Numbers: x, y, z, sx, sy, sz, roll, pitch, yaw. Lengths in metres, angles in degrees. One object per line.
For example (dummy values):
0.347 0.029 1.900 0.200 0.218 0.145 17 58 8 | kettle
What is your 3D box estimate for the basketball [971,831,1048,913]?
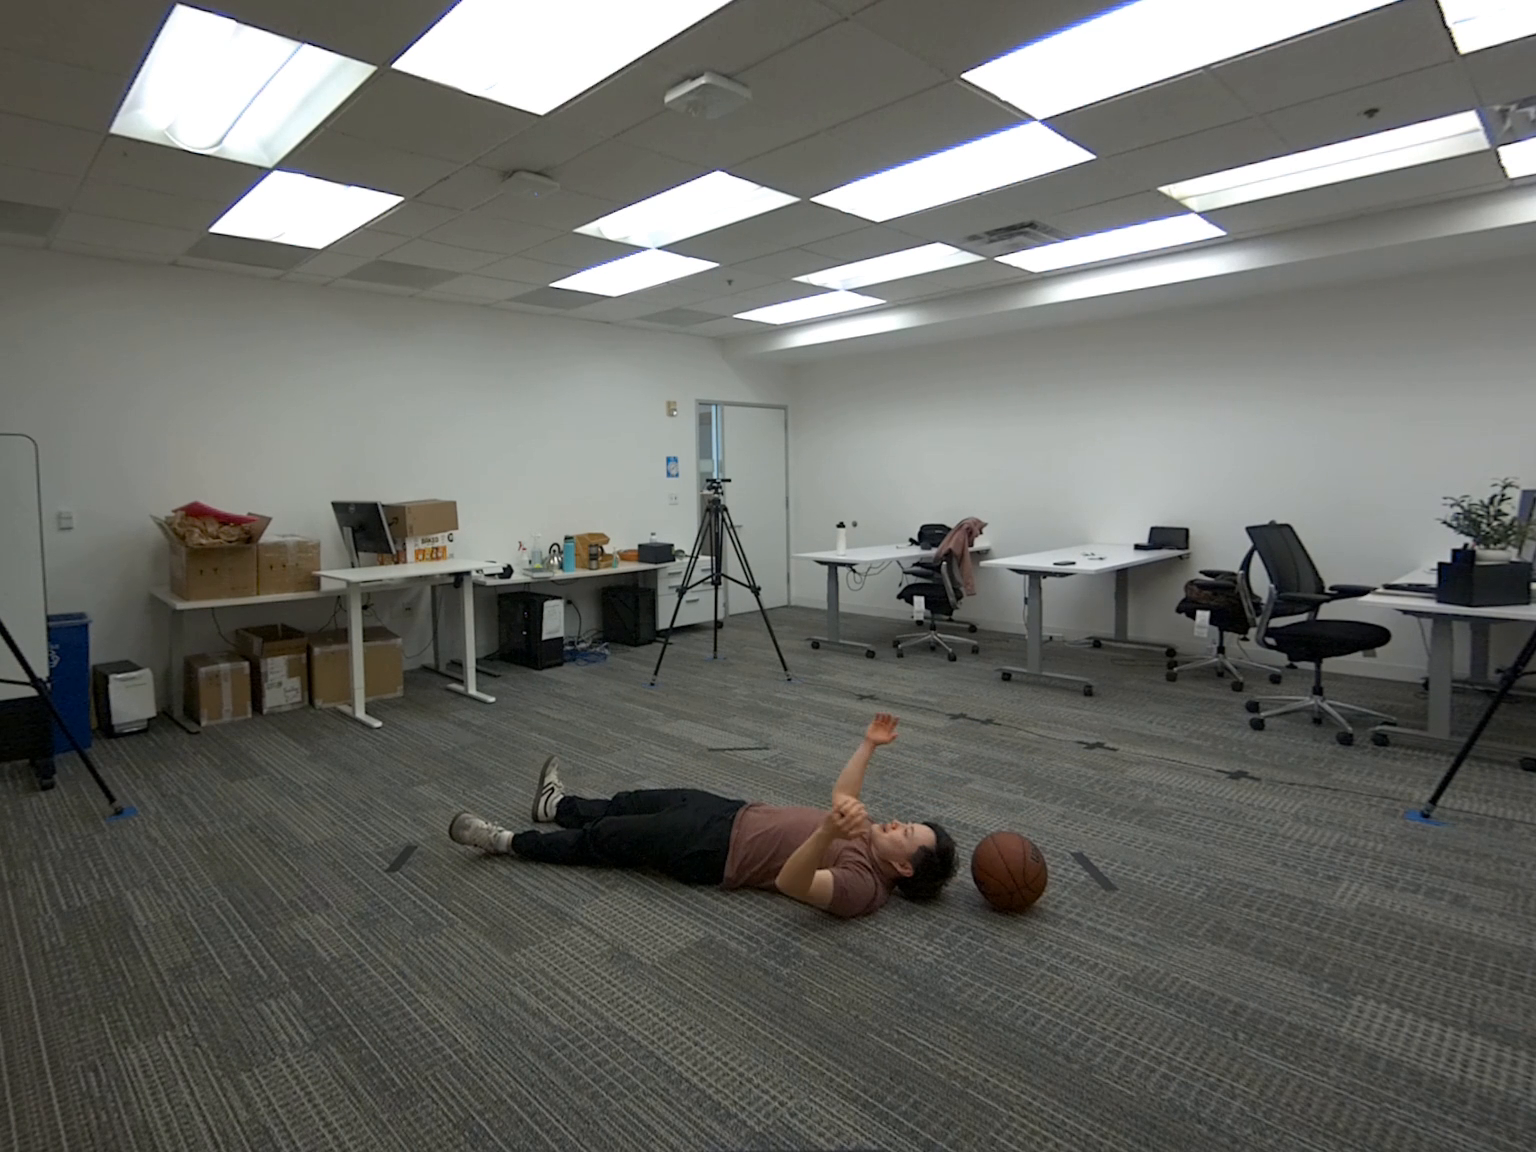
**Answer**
0.789 0.950 2.763 0.236 0.236 0.236 0 1 -2 | basketball
